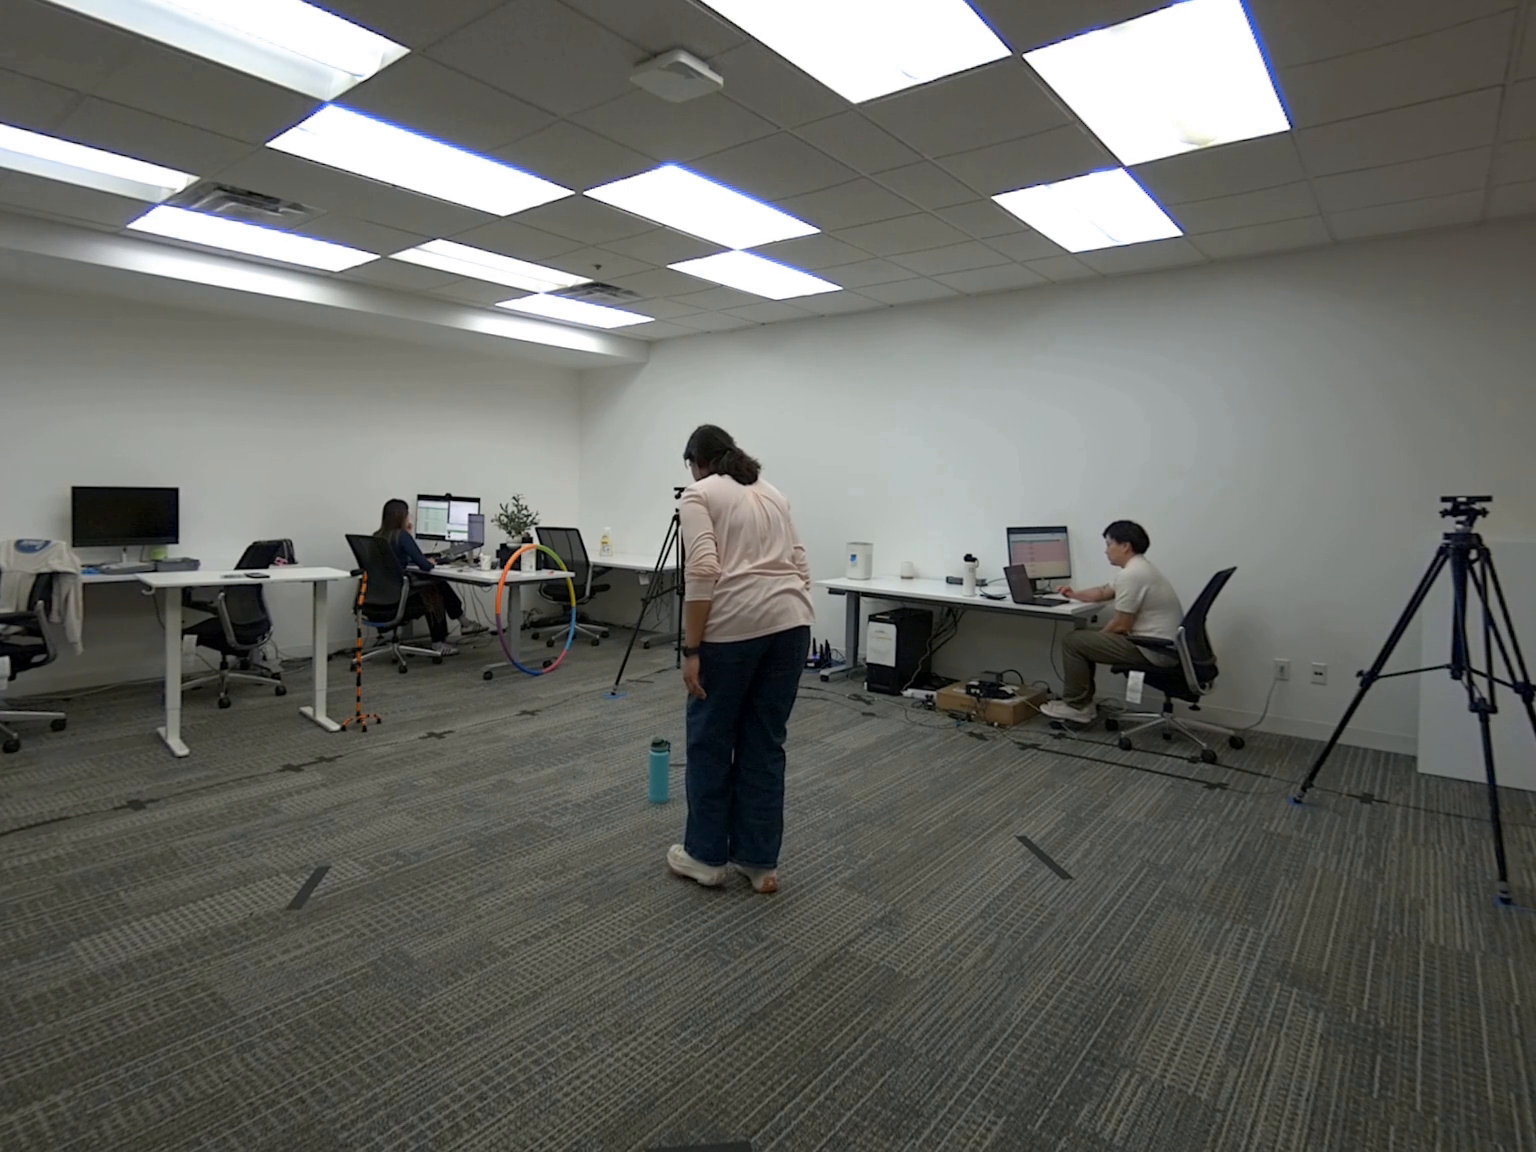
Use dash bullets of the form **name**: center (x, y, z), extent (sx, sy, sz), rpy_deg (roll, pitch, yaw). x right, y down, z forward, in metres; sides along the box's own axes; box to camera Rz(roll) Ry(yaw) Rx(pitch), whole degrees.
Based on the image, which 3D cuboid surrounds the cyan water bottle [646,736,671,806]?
- **cyan water bottle**: center (-0.495, 0.855, 3.785), extent (0.092, 0.283, 0.092), rpy_deg (1, 2, -2)
